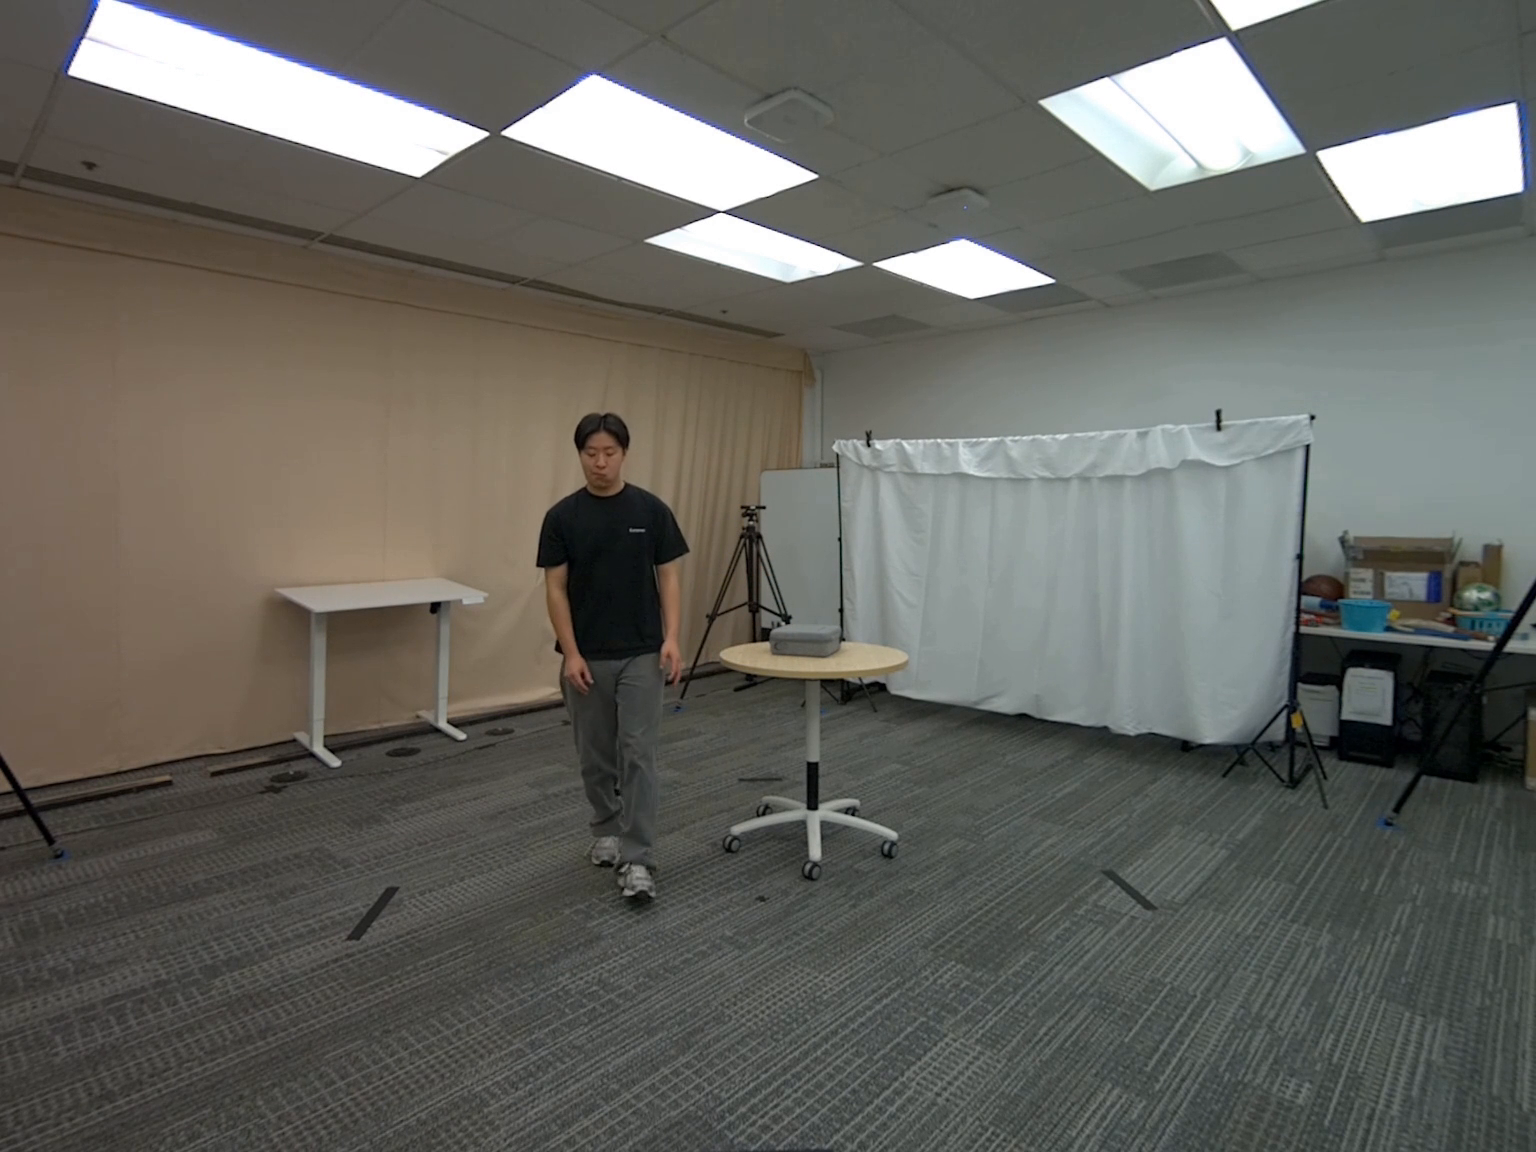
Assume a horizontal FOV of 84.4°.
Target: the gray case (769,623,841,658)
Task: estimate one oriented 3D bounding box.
[{"bbox_3d":[0.151,0.267,3.508,0.294,0.103,0.258,0,4,22],"label":"gray case"}]
